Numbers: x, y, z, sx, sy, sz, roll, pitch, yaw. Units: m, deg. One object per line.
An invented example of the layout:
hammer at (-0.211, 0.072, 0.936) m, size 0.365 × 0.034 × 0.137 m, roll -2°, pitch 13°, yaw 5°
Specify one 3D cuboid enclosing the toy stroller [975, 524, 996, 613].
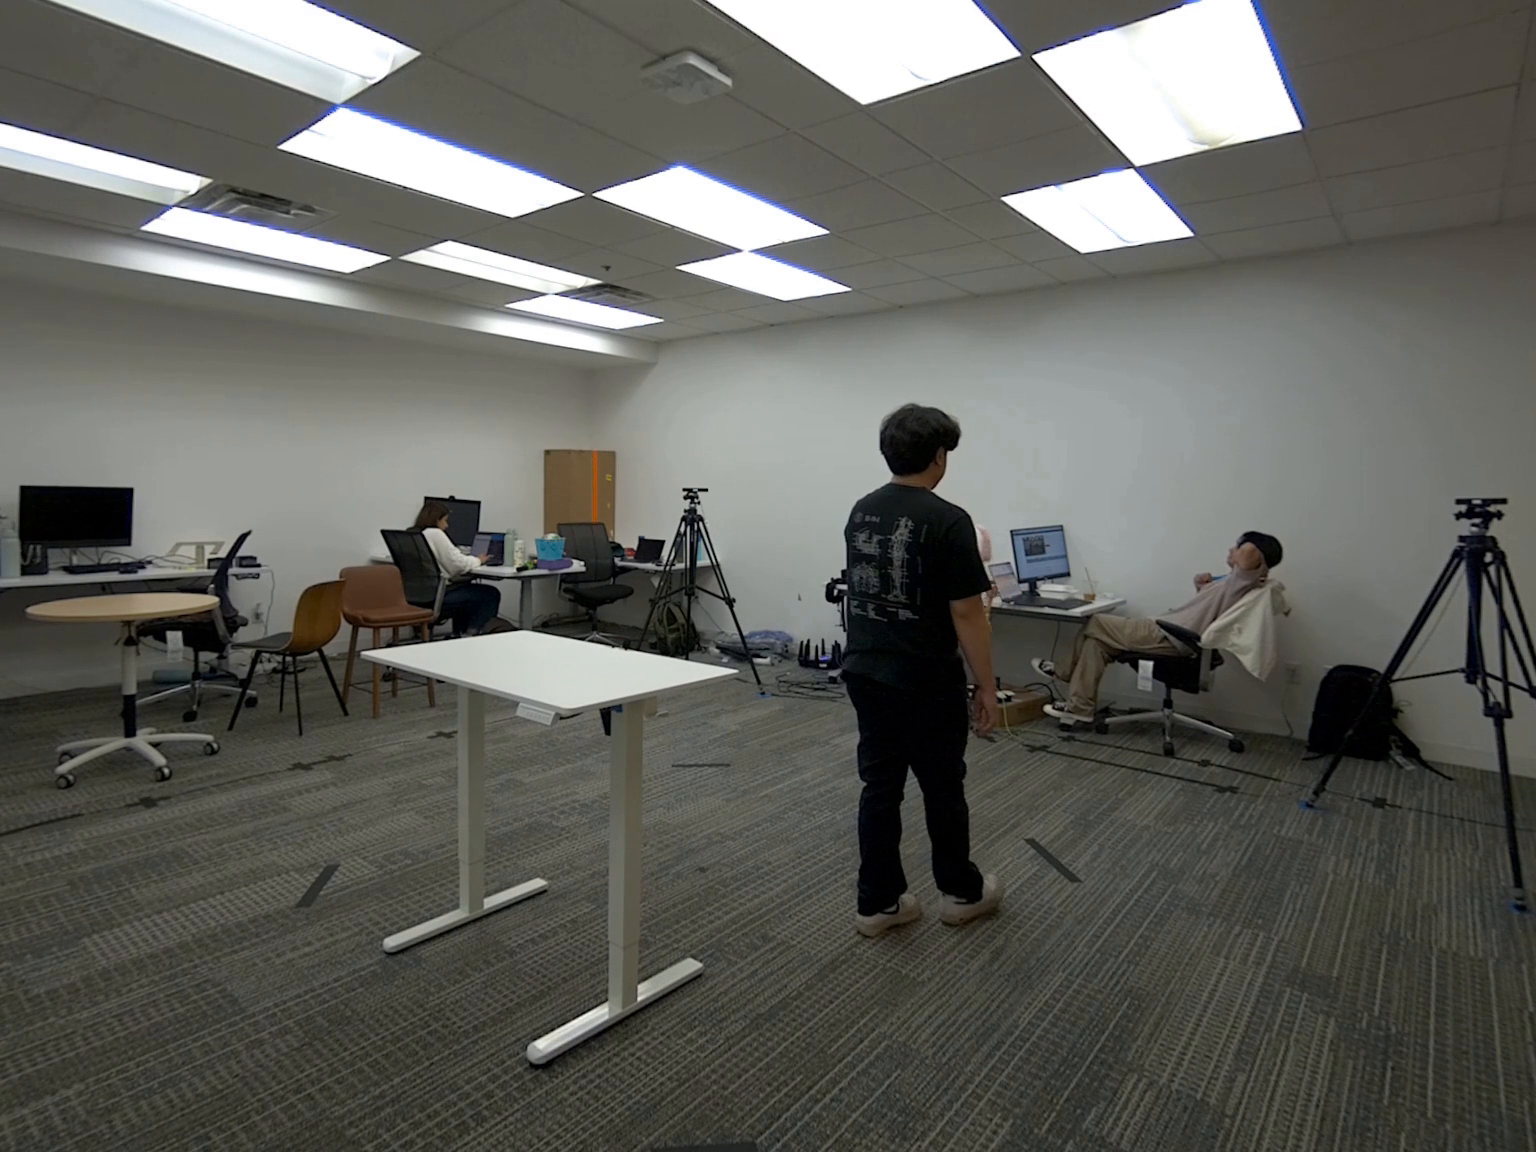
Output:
toy stroller at (0.702, 0.031, 3.191) m, size 0.331 × 0.536 × 0.290 m, roll 9°, pitch -2°, yaw -32°
